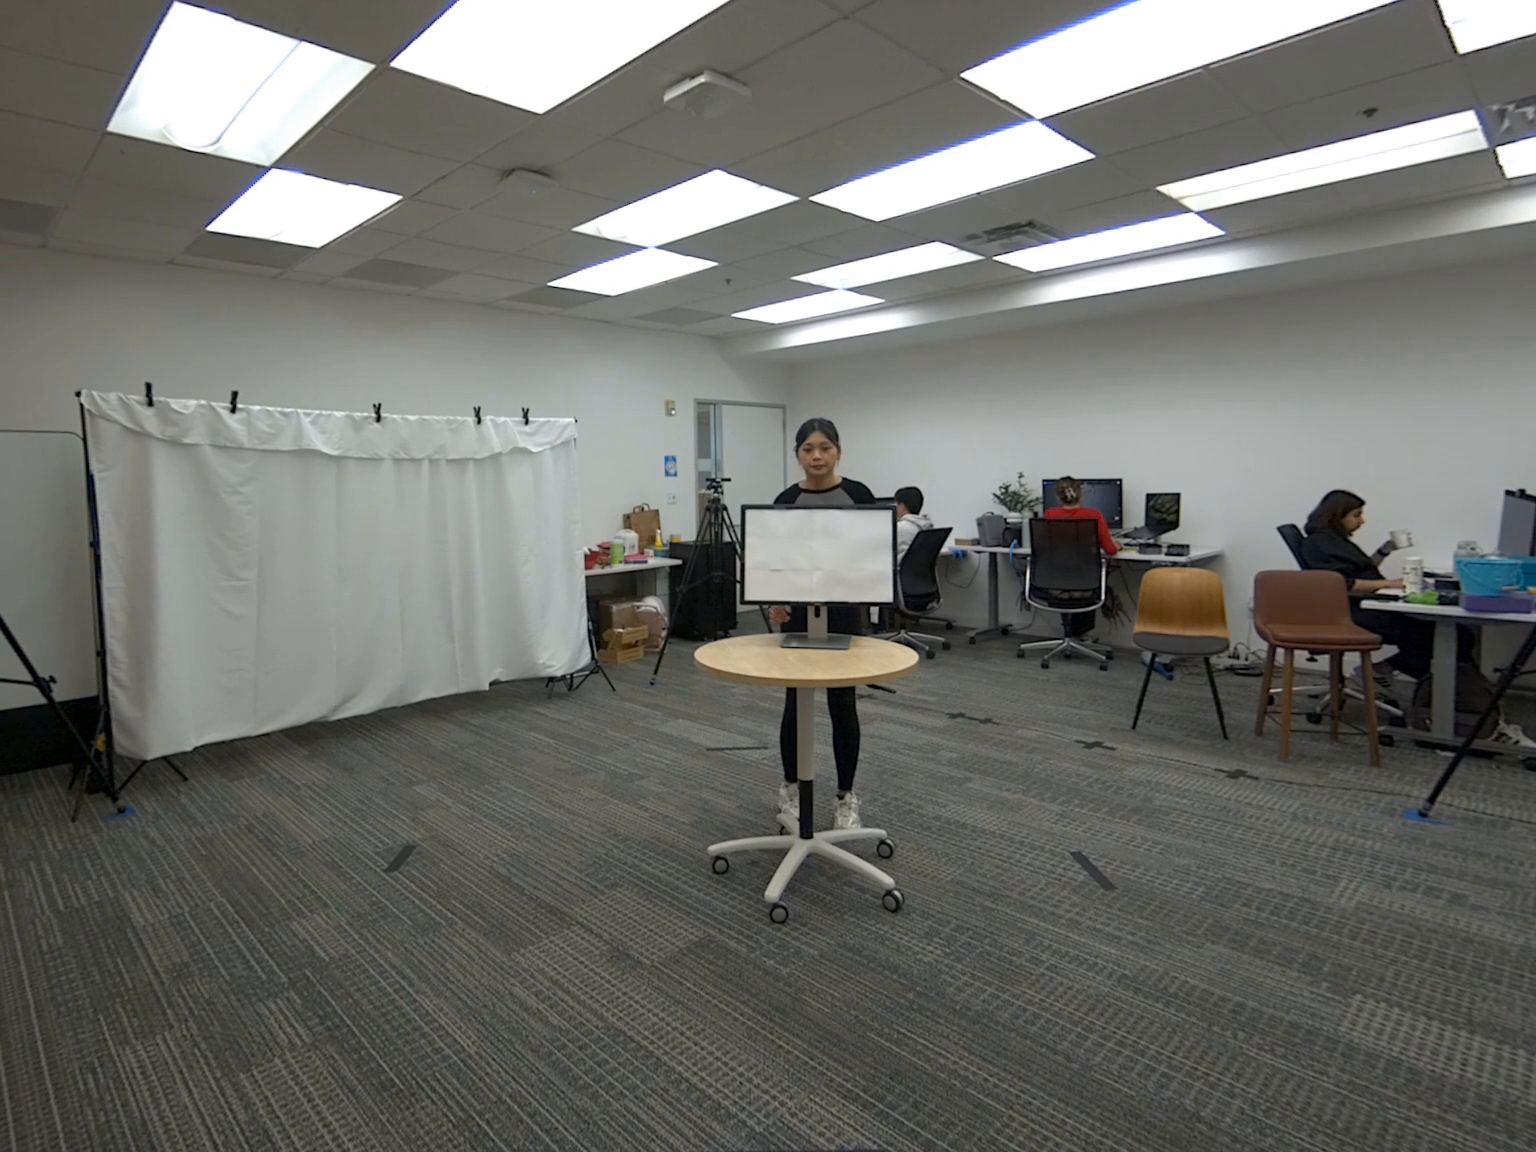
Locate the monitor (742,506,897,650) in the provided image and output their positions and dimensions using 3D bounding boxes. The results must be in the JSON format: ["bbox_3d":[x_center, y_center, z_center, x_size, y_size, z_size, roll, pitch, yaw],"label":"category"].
[{"bbox_3d":[0.171,0.002,3.103,0.541,0.520,0.187,0,5,3],"label":"monitor"}]
